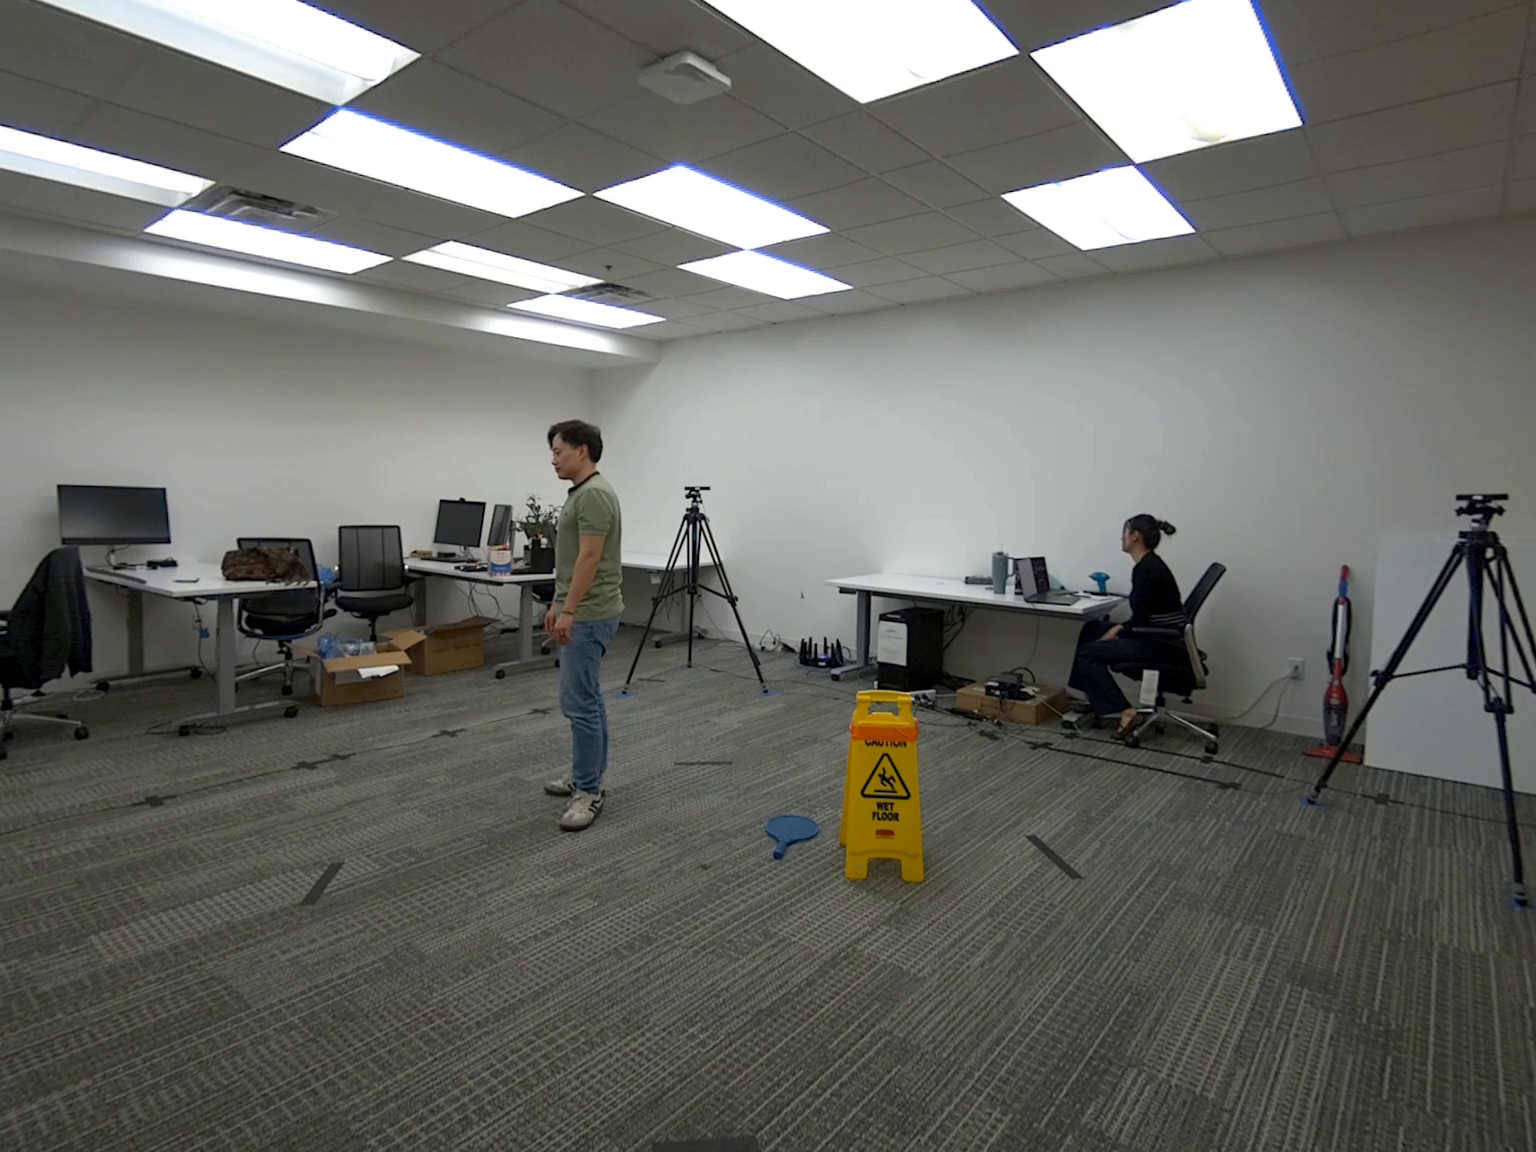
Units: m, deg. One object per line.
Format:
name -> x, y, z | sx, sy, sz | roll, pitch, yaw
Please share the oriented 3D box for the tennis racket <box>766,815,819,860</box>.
tennis racket -> 0.074, 1.029, 3.392 | 0.217, 0.031, 0.428 | 2, 5, 12
